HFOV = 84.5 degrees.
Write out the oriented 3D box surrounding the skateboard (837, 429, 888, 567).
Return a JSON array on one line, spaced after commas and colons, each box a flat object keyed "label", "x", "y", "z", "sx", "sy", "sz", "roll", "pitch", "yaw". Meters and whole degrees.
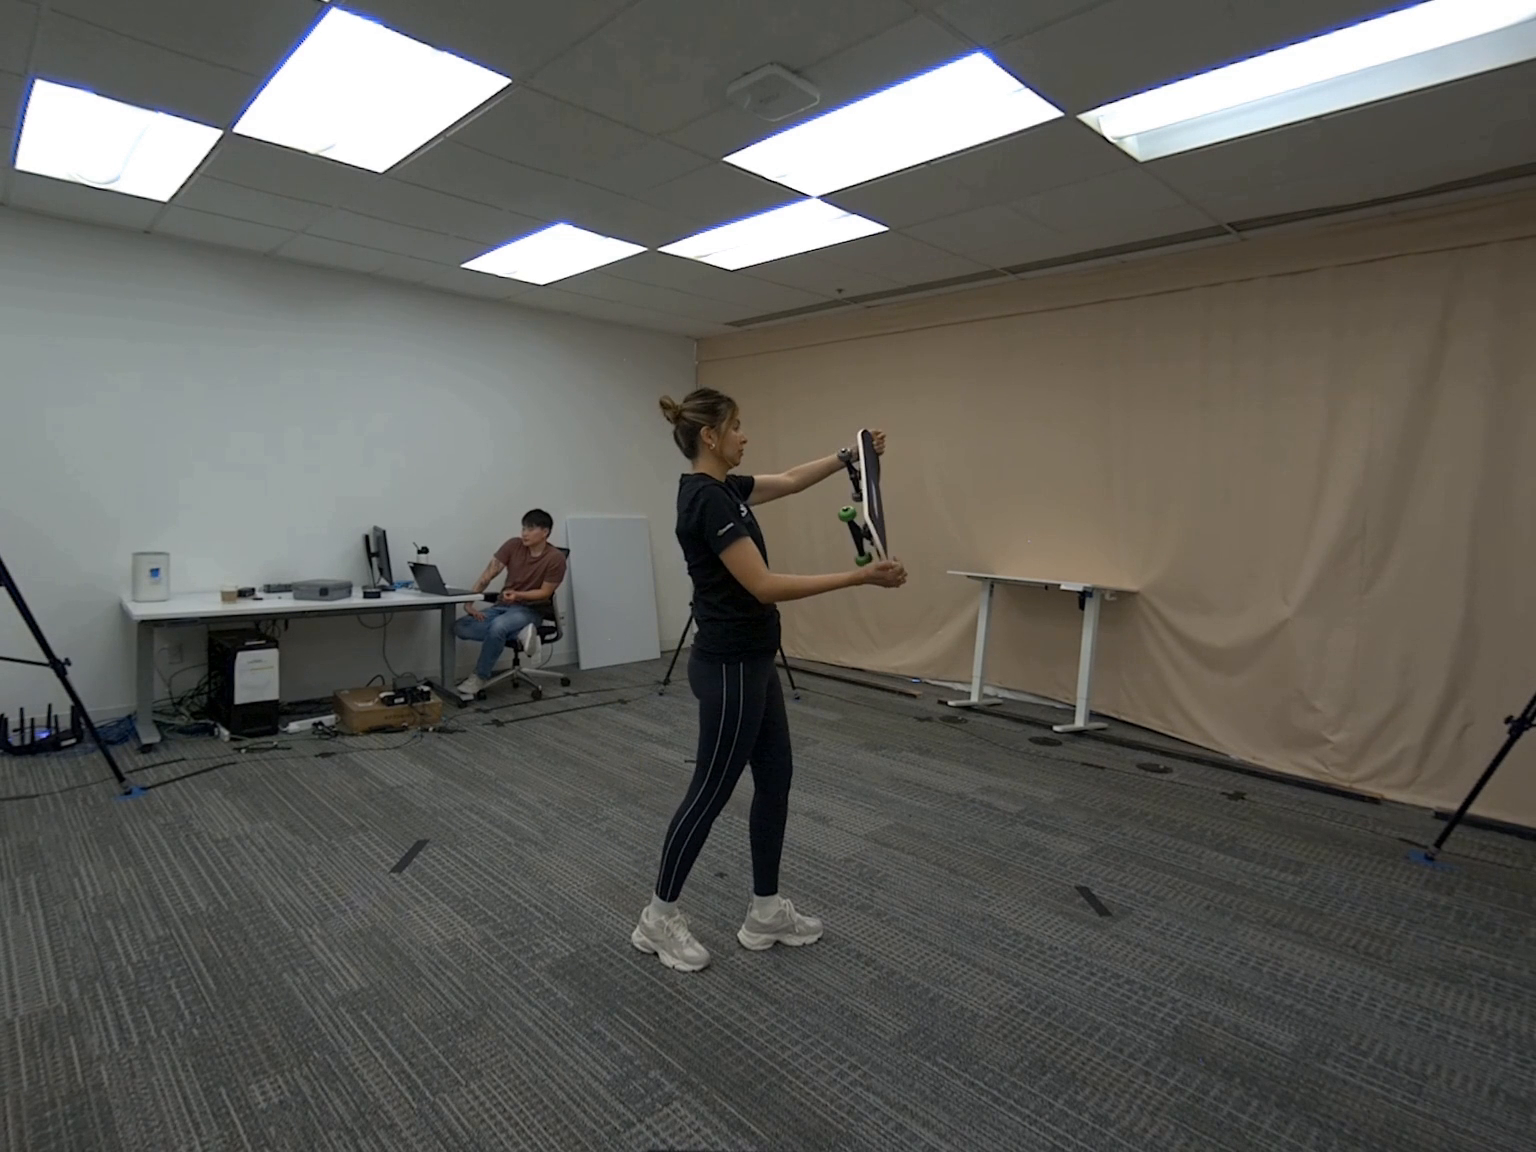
[{"label": "skateboard", "x": 0.289, "y": -0.229, "z": 2.527, "sx": 0.111, "sy": 0.189, "sz": 0.798, "roll": -13, "pitch": 31, "yaw": 15}]
